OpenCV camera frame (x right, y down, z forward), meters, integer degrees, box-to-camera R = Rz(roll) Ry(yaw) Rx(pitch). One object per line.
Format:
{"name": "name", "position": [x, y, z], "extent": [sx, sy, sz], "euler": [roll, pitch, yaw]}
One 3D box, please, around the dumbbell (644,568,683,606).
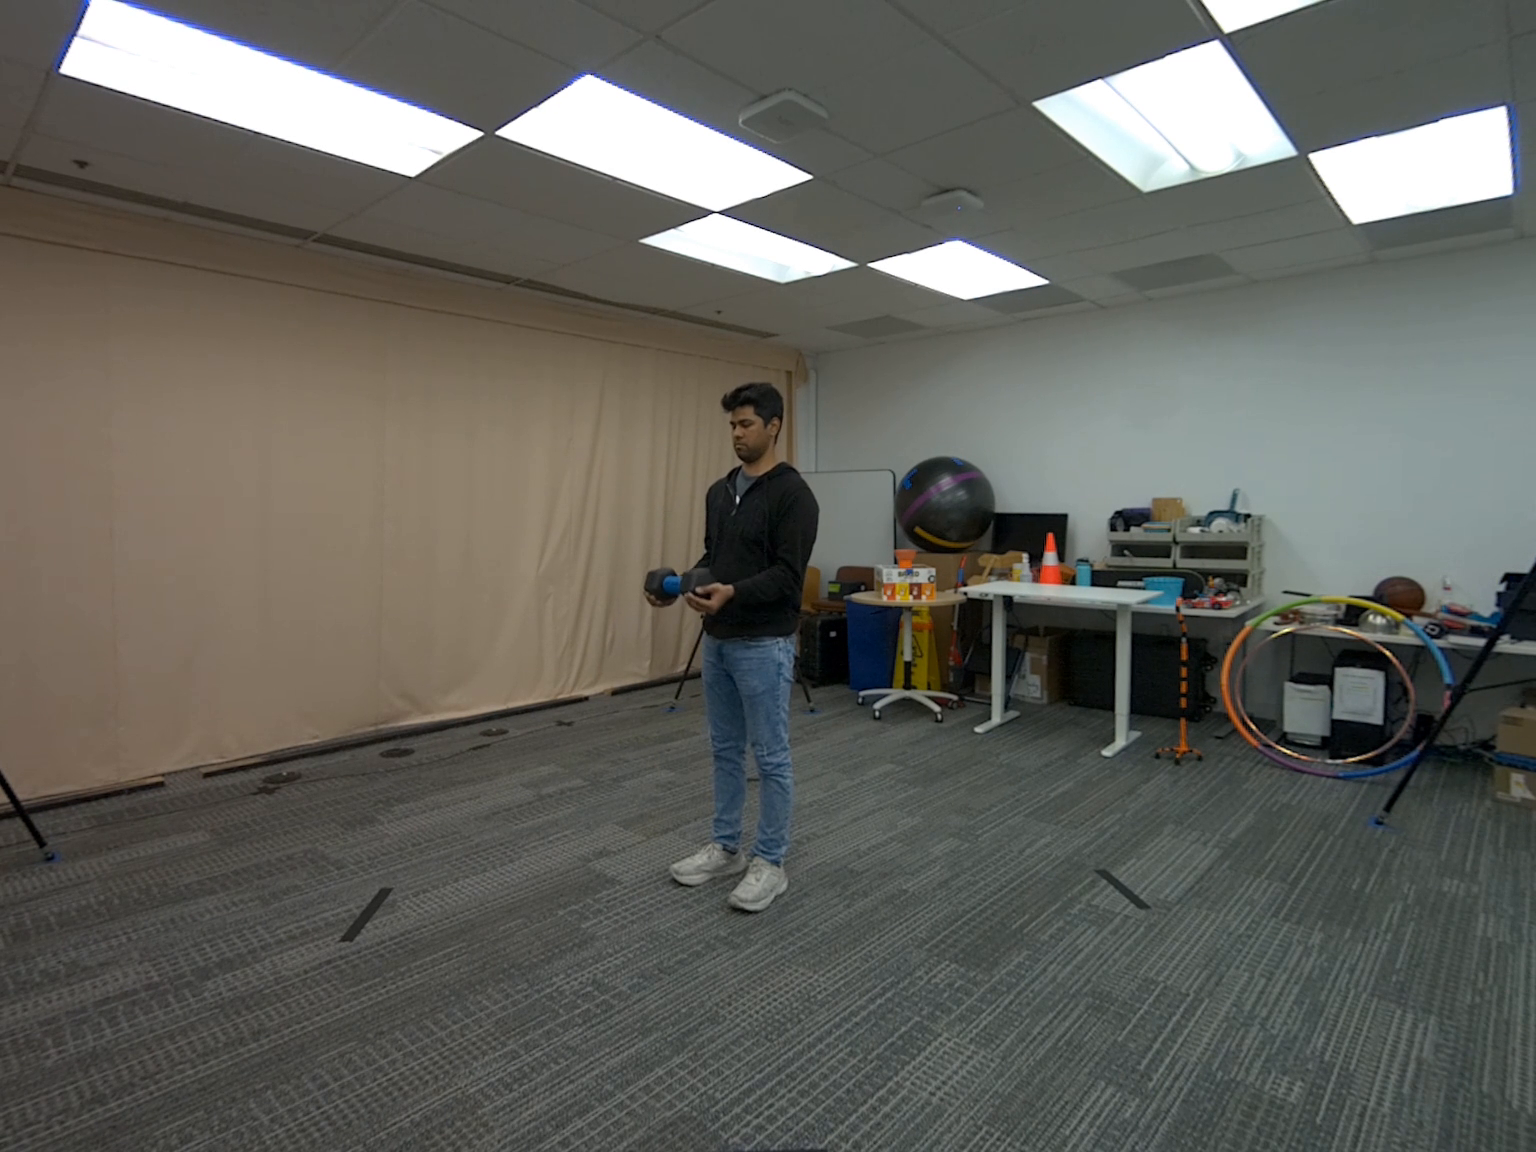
{"name": "dumbbell", "position": [-0.284, 0.031, 2.850], "extent": [0.105, 0.123, 0.303], "euler": [26, -15, -37]}
